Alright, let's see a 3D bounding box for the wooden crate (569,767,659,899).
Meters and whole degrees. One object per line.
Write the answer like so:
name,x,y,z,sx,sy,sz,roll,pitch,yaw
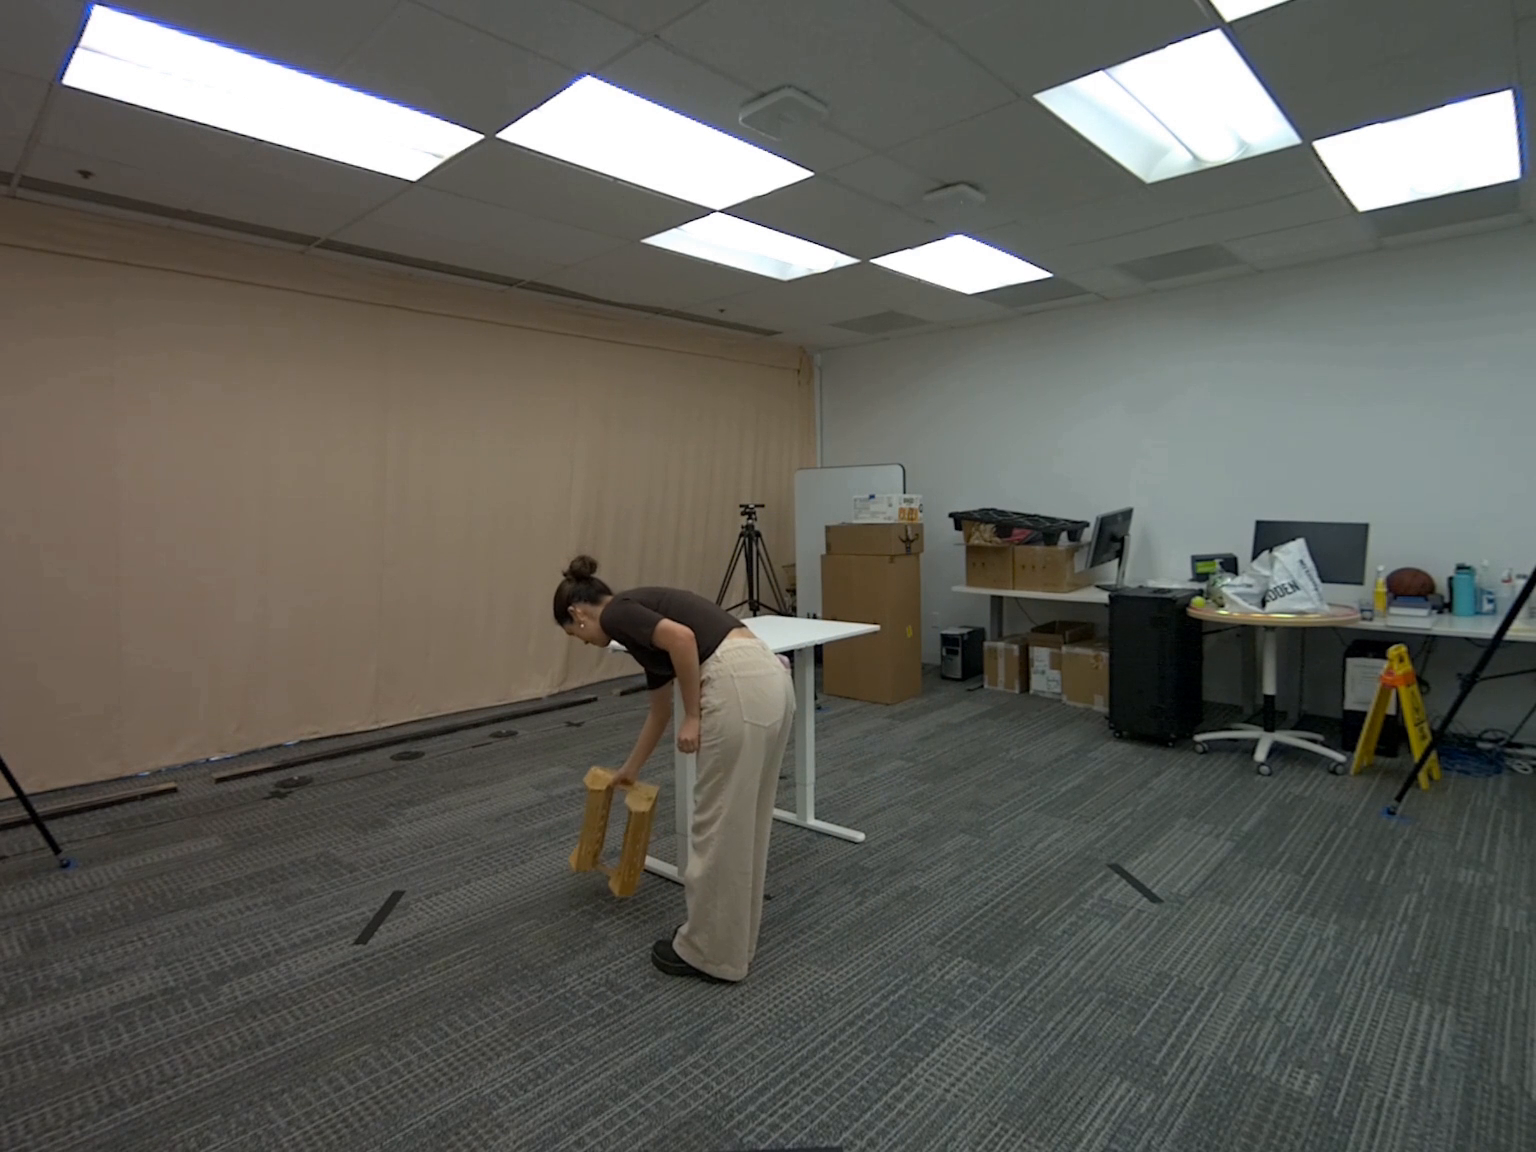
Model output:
wooden crate,-0.550,0.875,2.907,0.275,0.324,0.301,12,5,3
